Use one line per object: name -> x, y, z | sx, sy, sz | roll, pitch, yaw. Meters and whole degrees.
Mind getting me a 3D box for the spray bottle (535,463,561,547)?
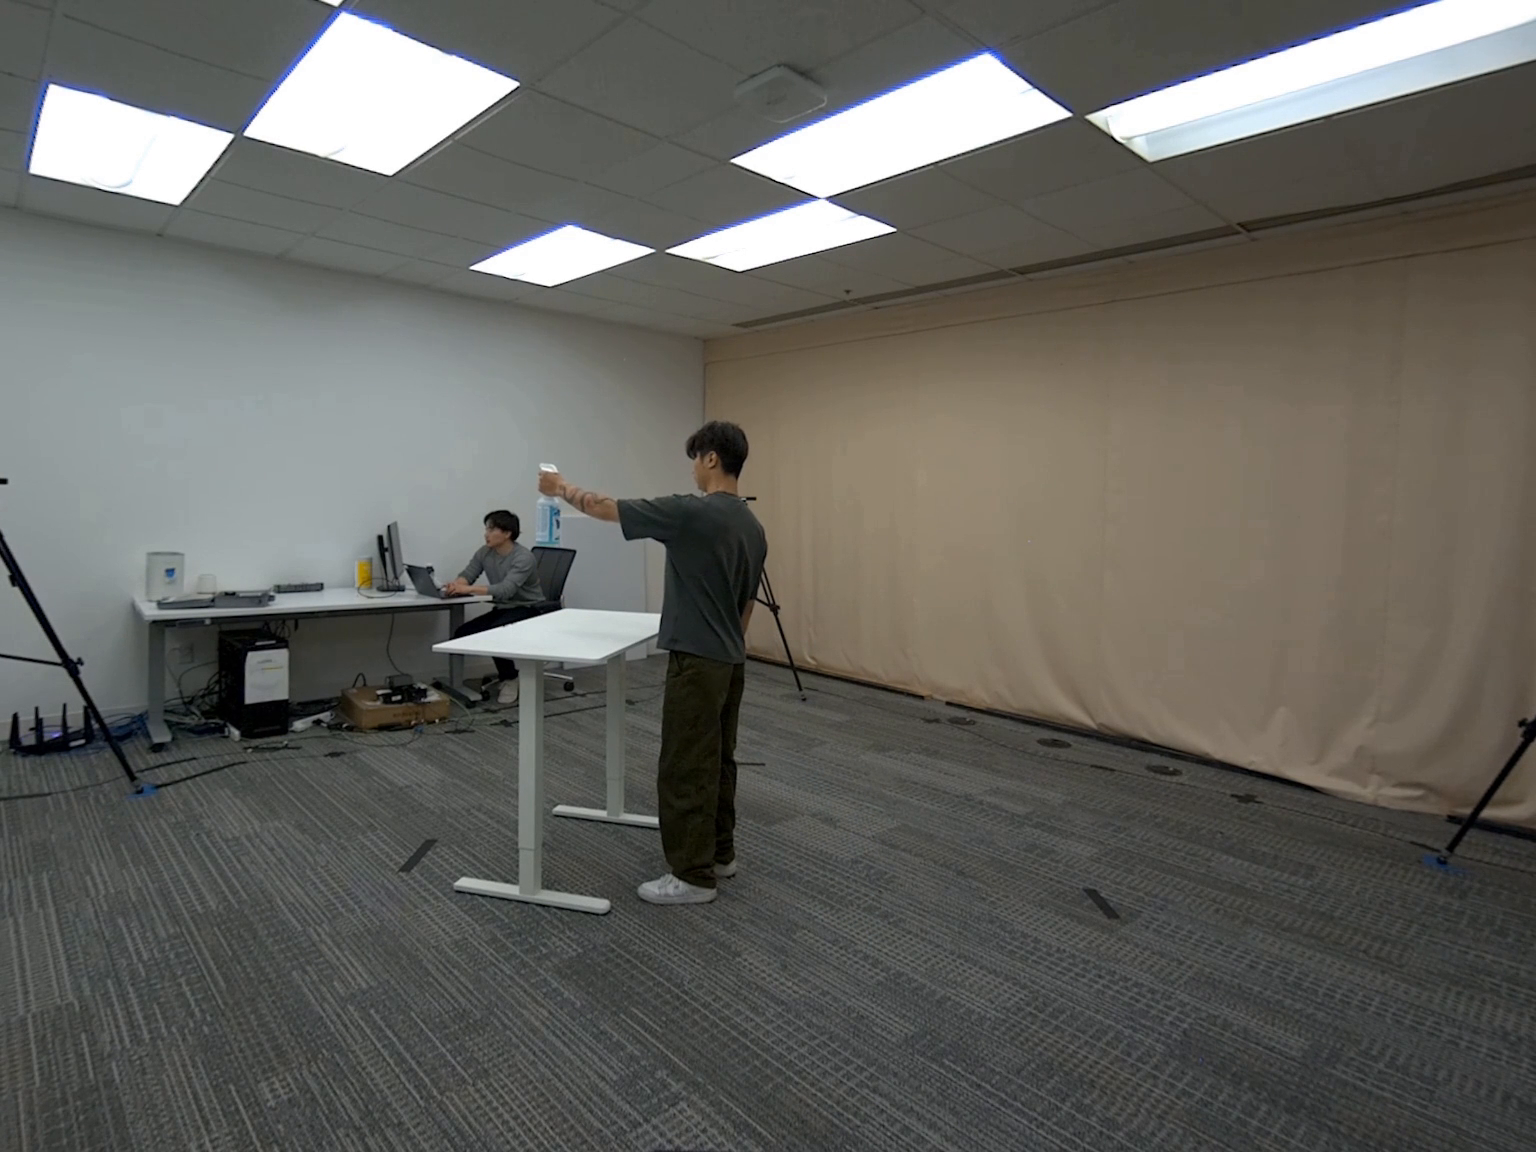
spray bottle -> -0.809, -0.260, 3.102 | 0.085, 0.297, 0.092 | 1, 3, -29
